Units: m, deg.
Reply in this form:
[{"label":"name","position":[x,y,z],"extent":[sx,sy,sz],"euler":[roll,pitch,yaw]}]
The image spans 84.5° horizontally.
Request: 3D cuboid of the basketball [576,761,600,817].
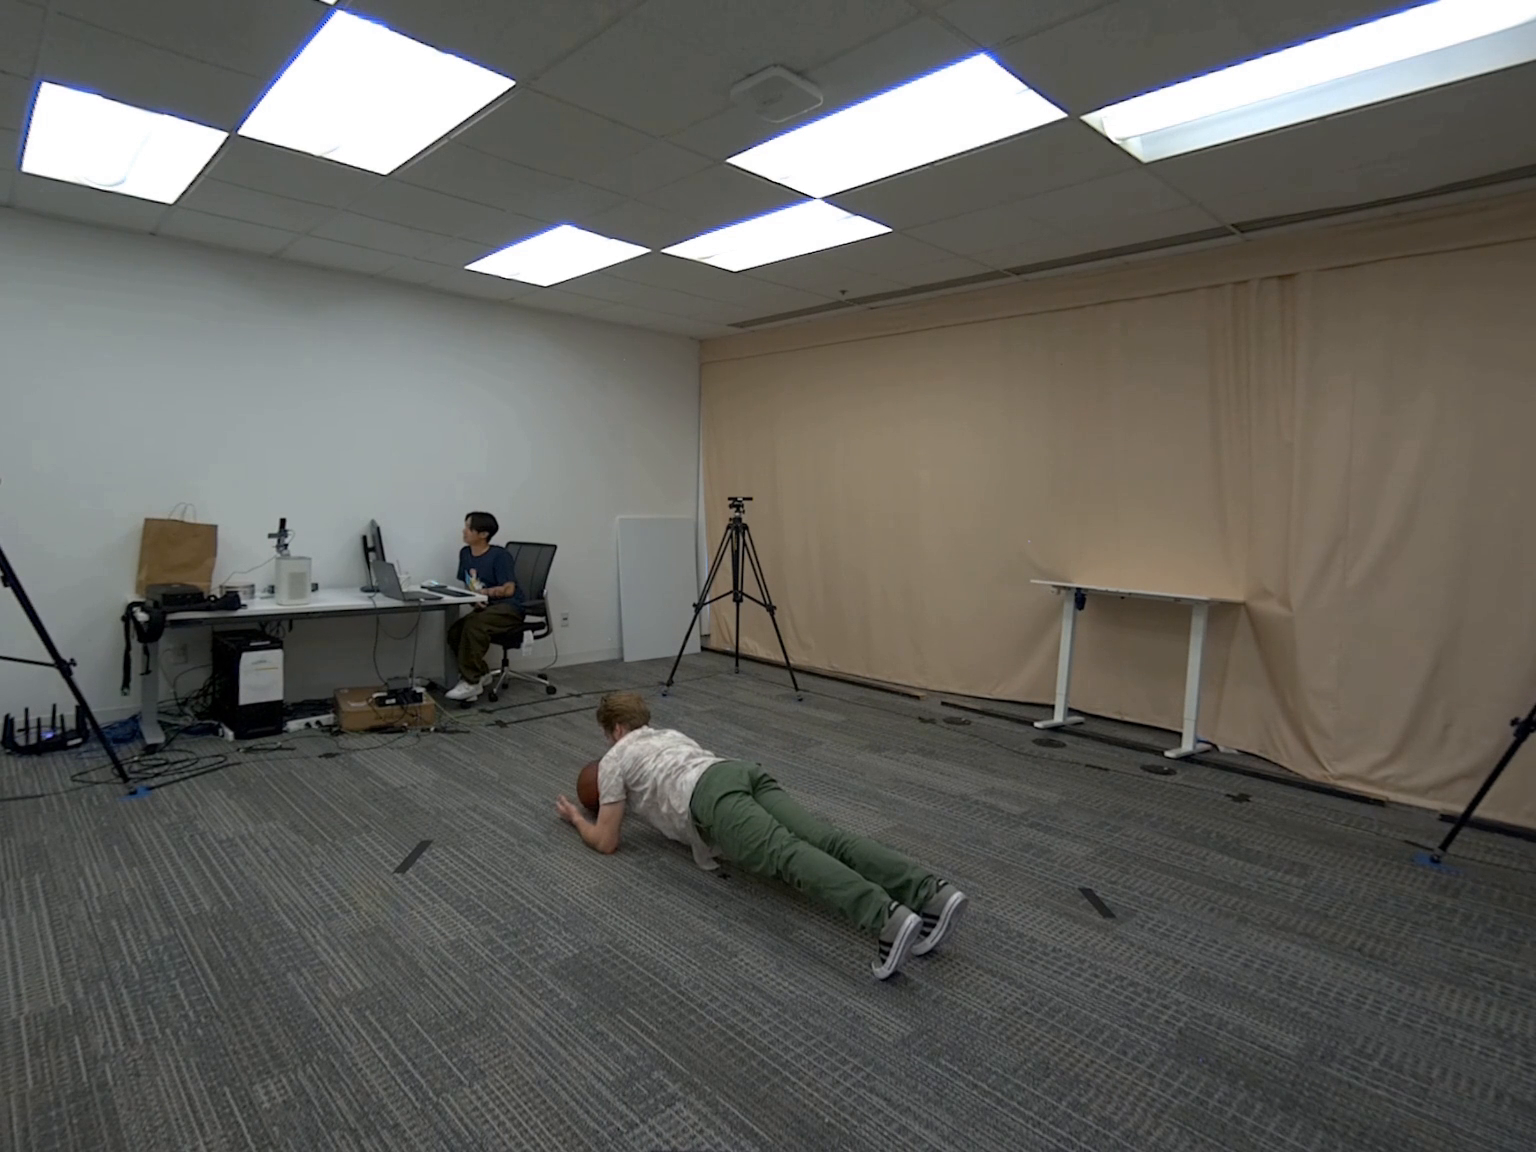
[{"label":"basketball","position":[-0.725,0.918,3.696],"extent":[0.236,0.235,0.237],"euler":[1,4,-1]}]
